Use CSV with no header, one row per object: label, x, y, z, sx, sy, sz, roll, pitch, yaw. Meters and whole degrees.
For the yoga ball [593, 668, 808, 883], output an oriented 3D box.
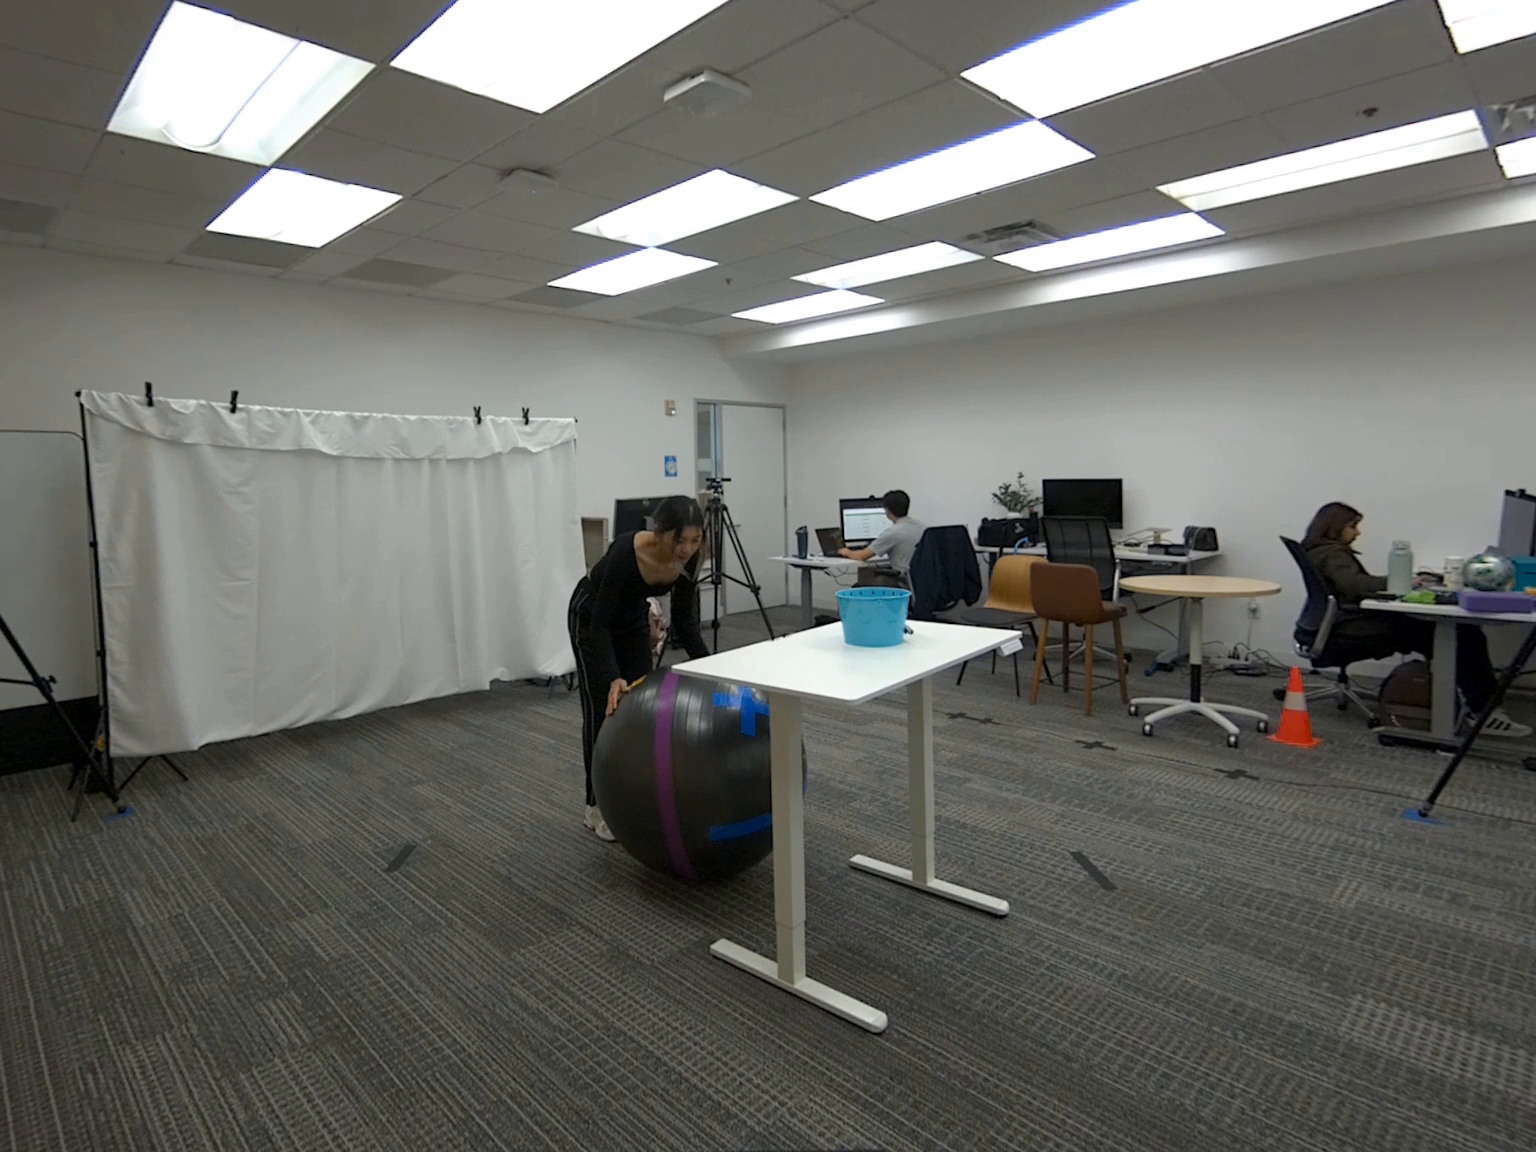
yoga ball,-0.244,0.683,3.033,0.757,0.755,0.762,-1,5,-2
